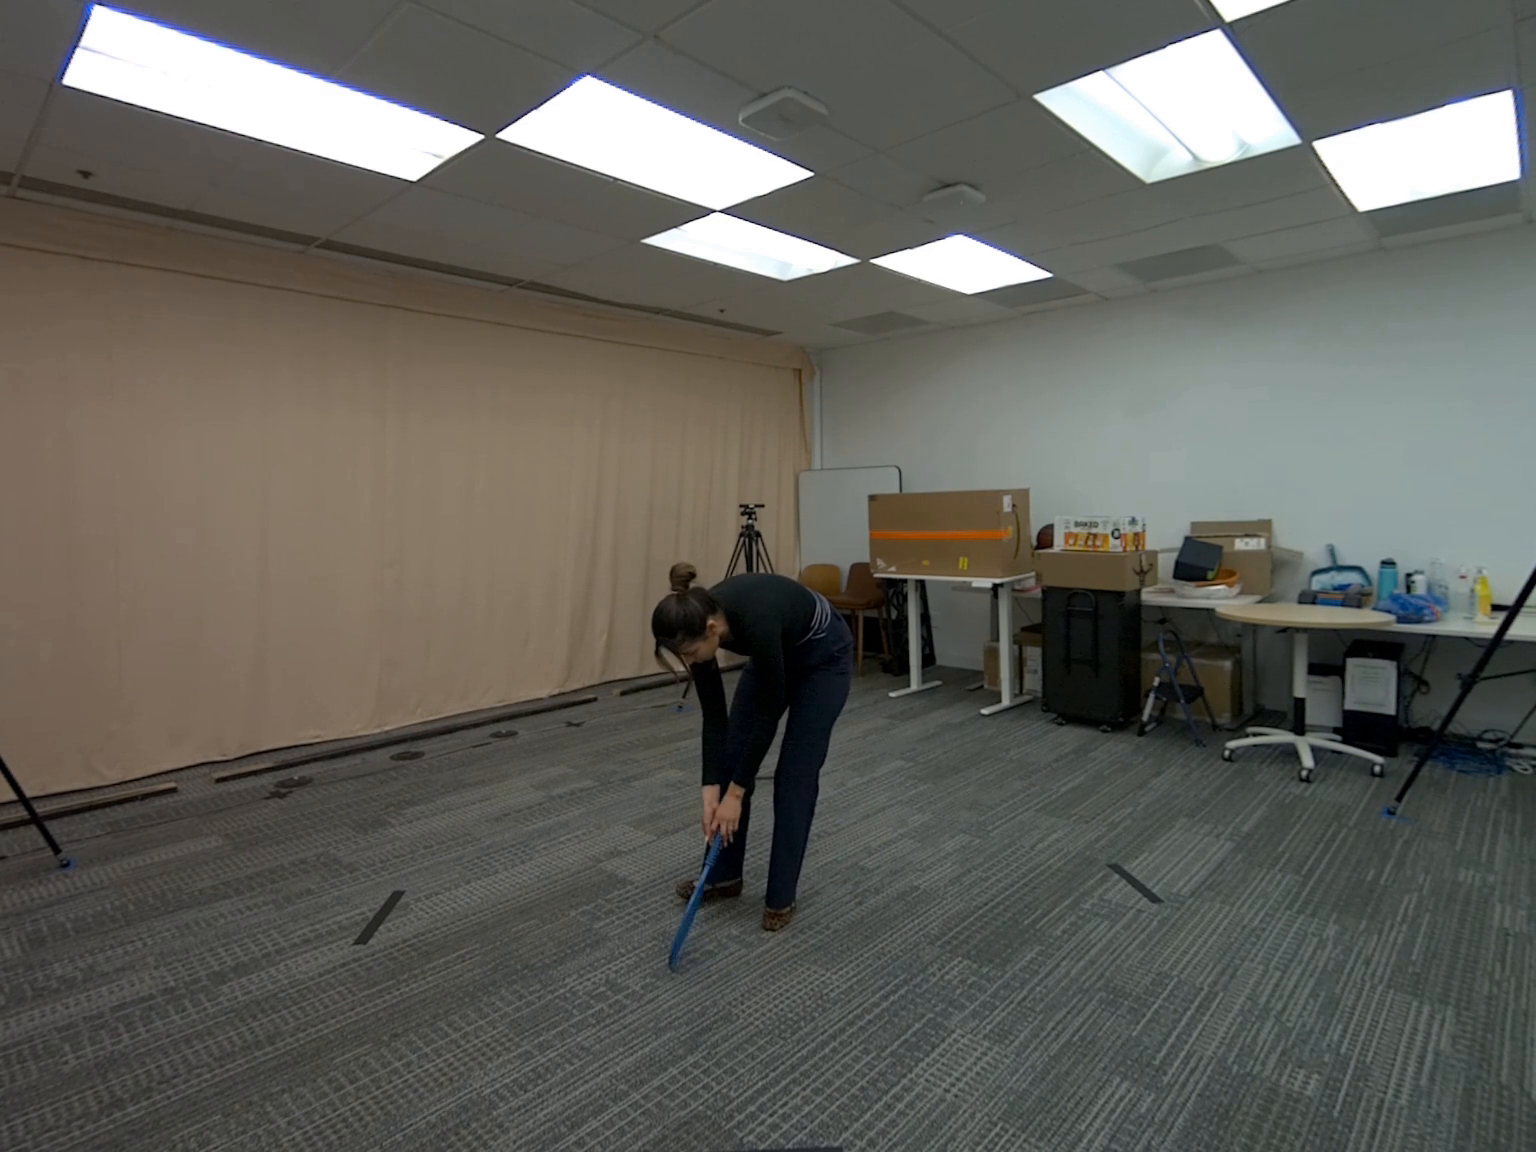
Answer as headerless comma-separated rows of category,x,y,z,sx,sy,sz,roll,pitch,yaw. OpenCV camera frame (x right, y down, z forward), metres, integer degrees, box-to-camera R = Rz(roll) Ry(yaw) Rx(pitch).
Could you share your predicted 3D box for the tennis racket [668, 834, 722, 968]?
tennis racket,-0.224,0.980,2.584,0.032,0.434,0.211,19,-10,7
